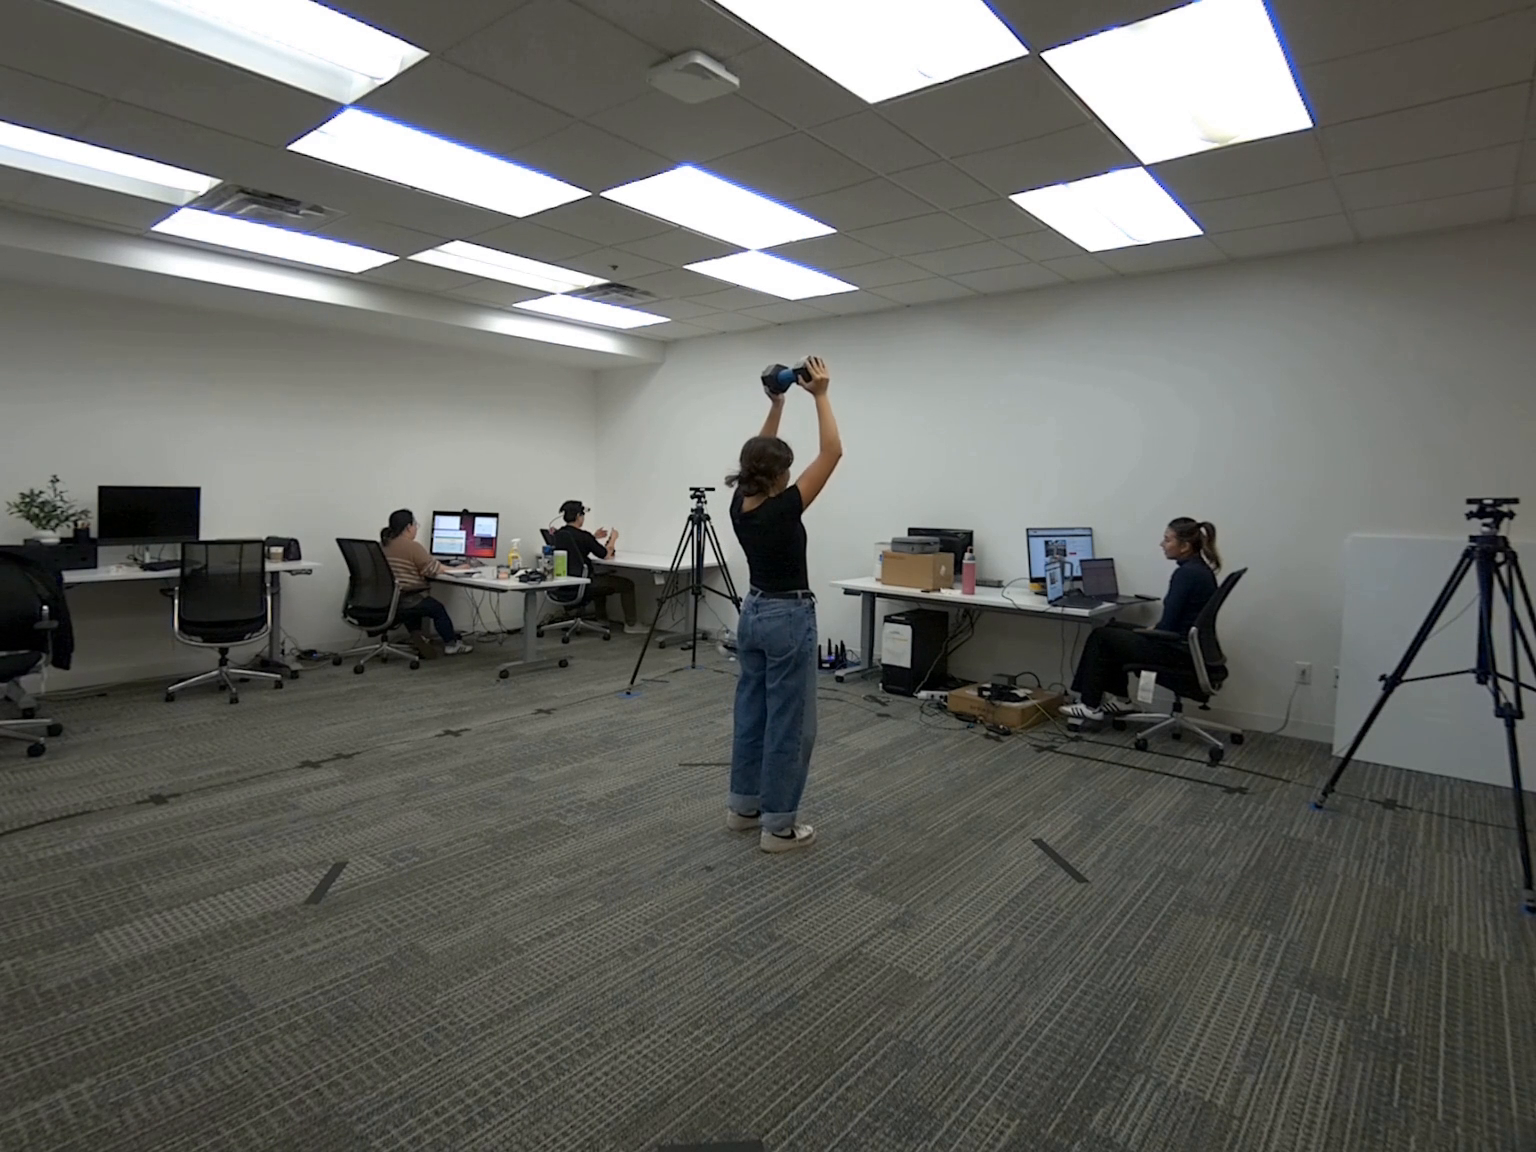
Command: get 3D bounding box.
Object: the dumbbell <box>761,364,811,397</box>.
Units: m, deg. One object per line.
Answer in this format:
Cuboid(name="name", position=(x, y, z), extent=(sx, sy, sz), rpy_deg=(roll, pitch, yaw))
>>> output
Cuboid(name="dumbbell", position=(0.087, -0.788, 3.360), extent=(0.105, 0.123, 0.303), rpy_deg=(45, -21, -29))
